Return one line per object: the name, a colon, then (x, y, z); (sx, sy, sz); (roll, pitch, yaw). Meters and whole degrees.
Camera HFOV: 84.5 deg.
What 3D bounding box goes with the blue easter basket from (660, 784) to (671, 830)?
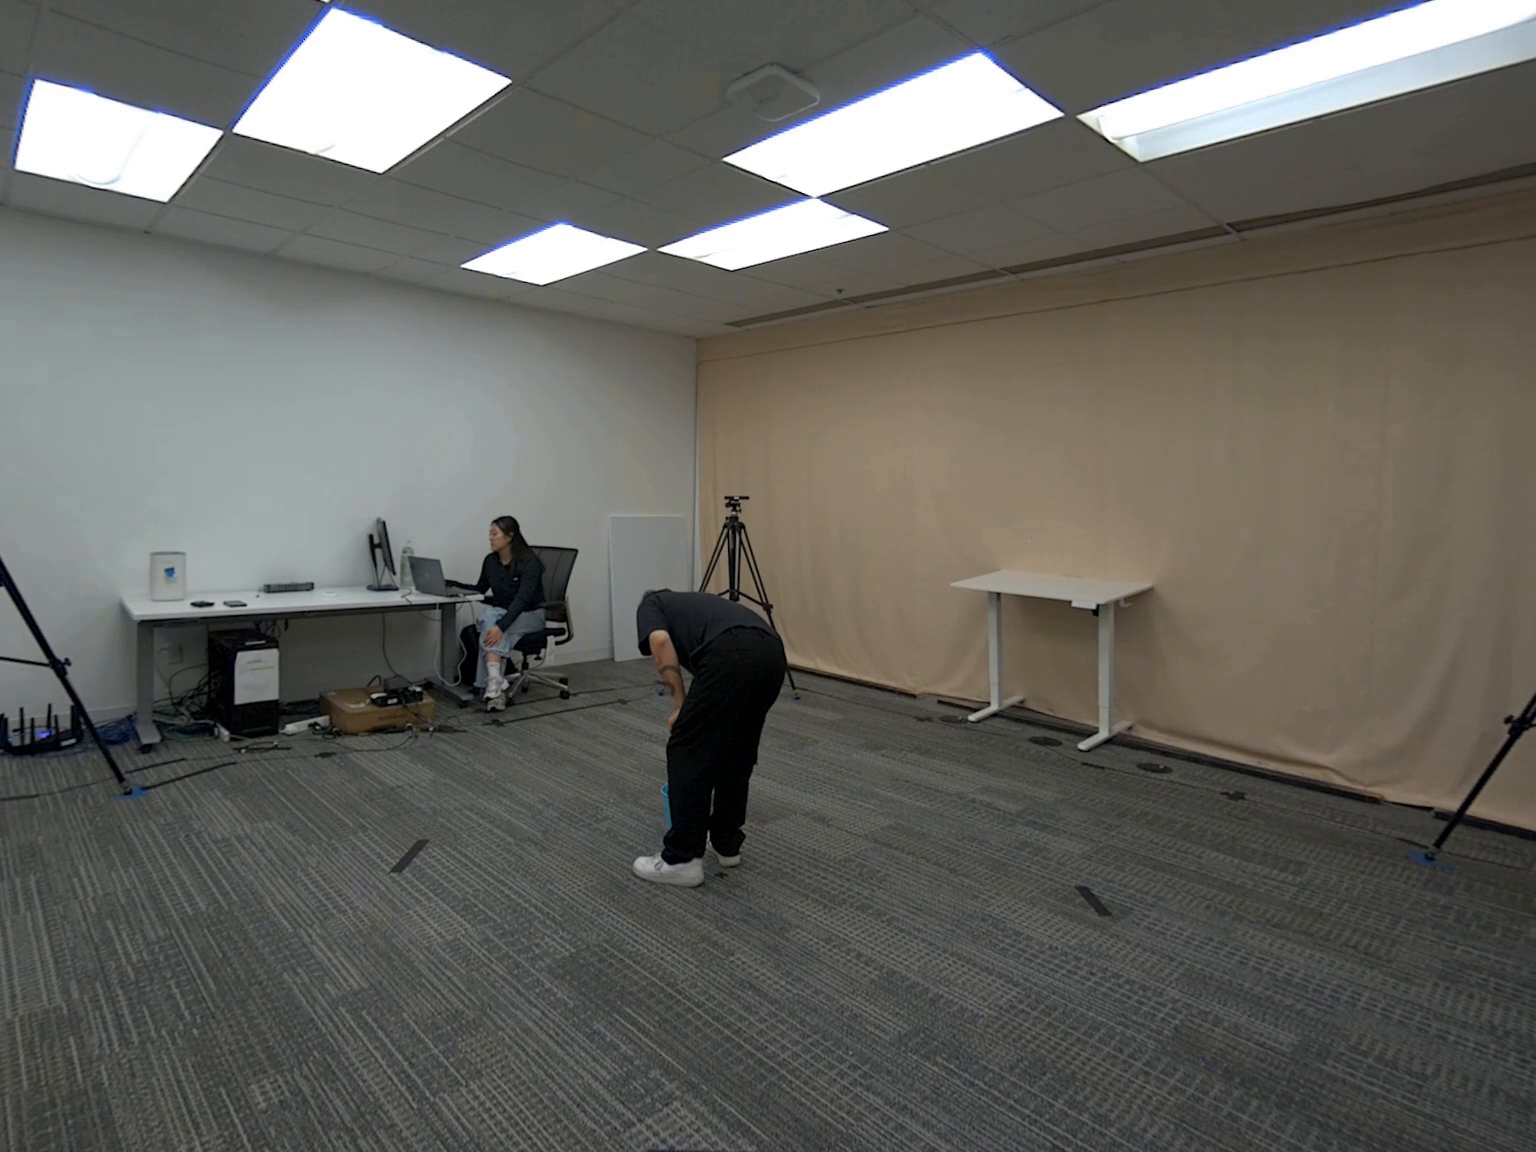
blue easter basket: (-0.339, 0.981, 3.576); (0.243, 0.155, 0.244); (2, 5, -2)
